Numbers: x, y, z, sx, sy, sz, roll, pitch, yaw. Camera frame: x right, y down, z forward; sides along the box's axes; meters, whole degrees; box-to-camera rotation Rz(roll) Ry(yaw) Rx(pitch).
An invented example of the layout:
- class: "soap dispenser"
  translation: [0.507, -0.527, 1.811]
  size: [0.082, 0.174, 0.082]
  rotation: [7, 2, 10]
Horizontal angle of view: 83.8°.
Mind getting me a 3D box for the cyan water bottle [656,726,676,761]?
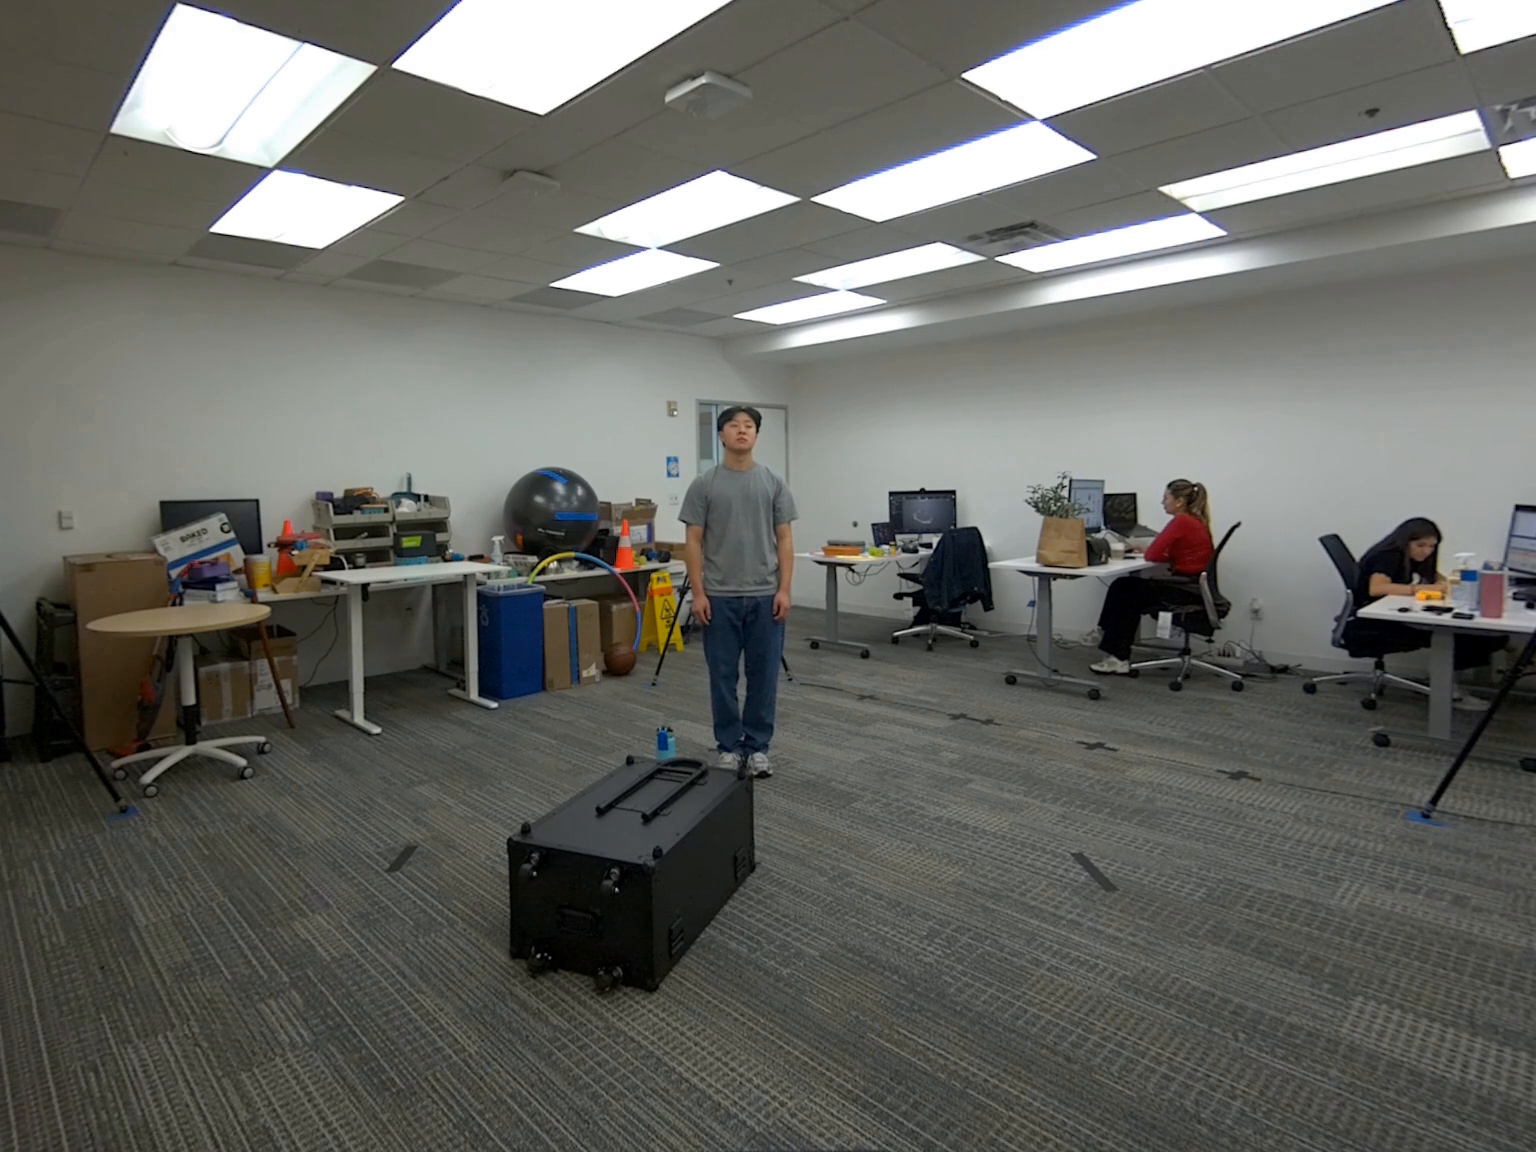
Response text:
- class: "cyan water bottle"
  translation: [-0.470, 0.822, 3.920]
  size: [0.092, 0.282, 0.093]
  rotation: [-2, 3, -1]
